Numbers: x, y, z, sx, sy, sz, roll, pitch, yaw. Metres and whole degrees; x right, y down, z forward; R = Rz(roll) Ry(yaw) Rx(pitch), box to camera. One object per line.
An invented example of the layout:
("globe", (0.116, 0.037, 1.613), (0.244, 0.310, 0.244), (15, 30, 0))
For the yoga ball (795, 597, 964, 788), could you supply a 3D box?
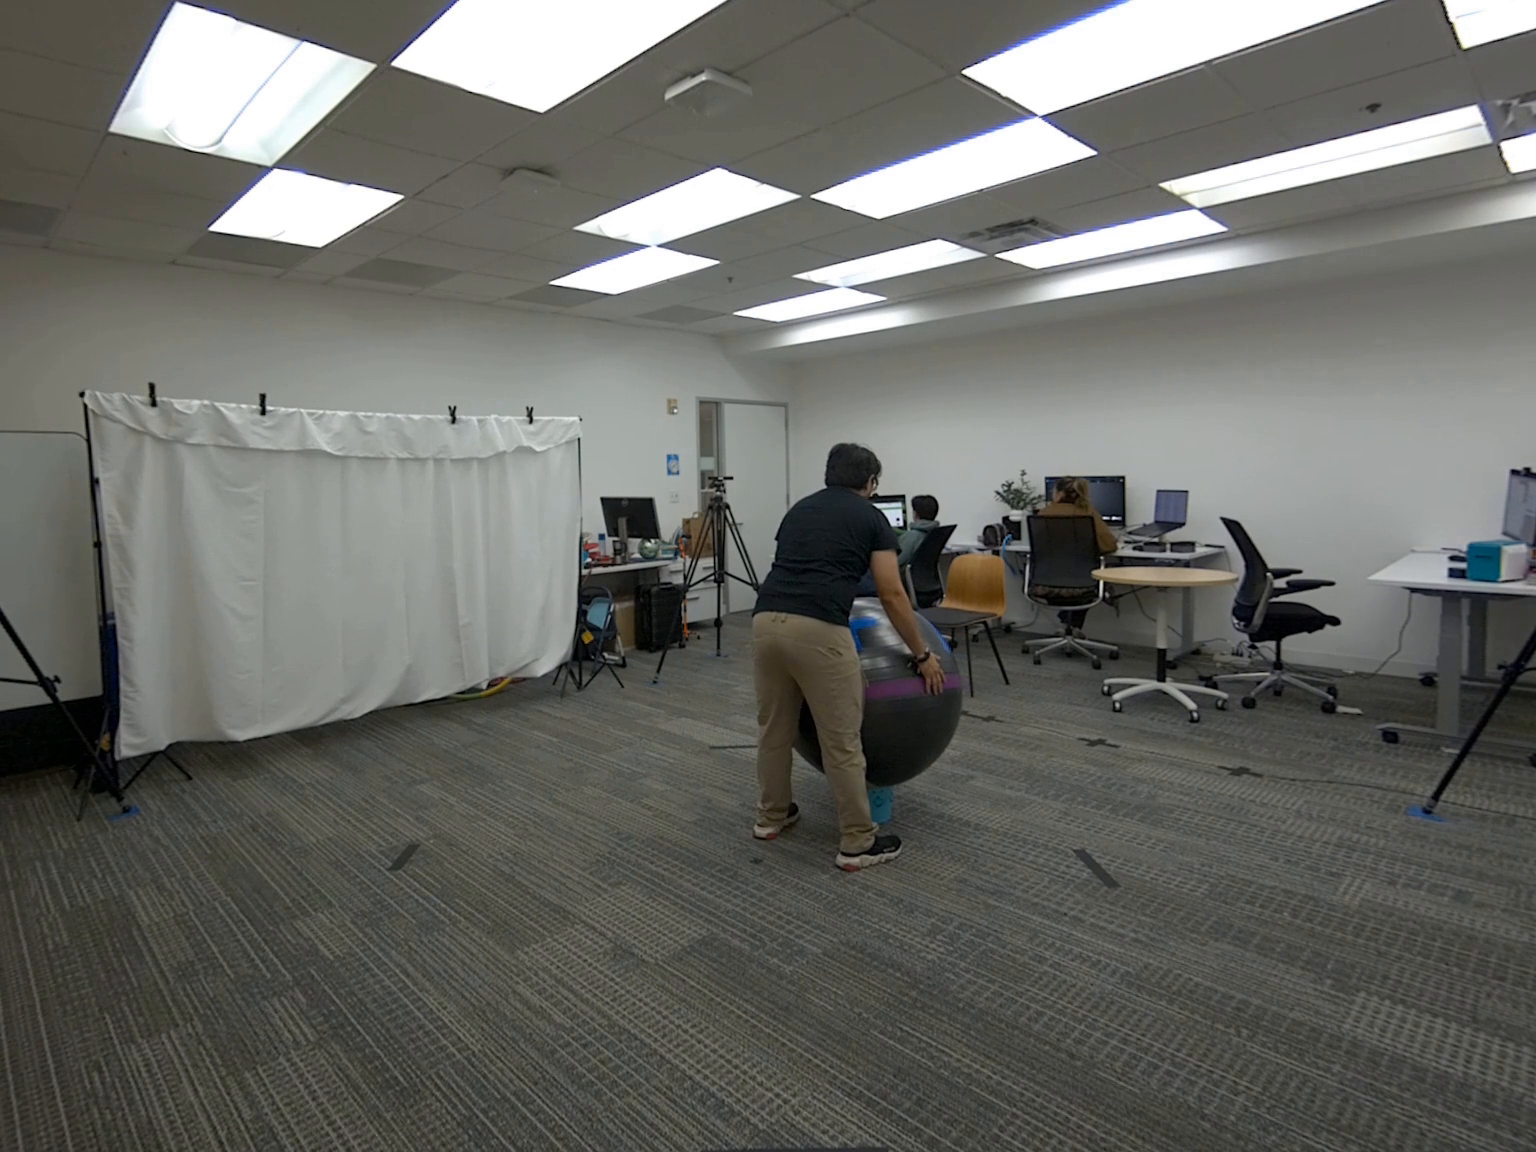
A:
("yoga ball", (0.412, 0.478, 3.511), (0.757, 0.755, 0.762), (-1, 5, -2))
